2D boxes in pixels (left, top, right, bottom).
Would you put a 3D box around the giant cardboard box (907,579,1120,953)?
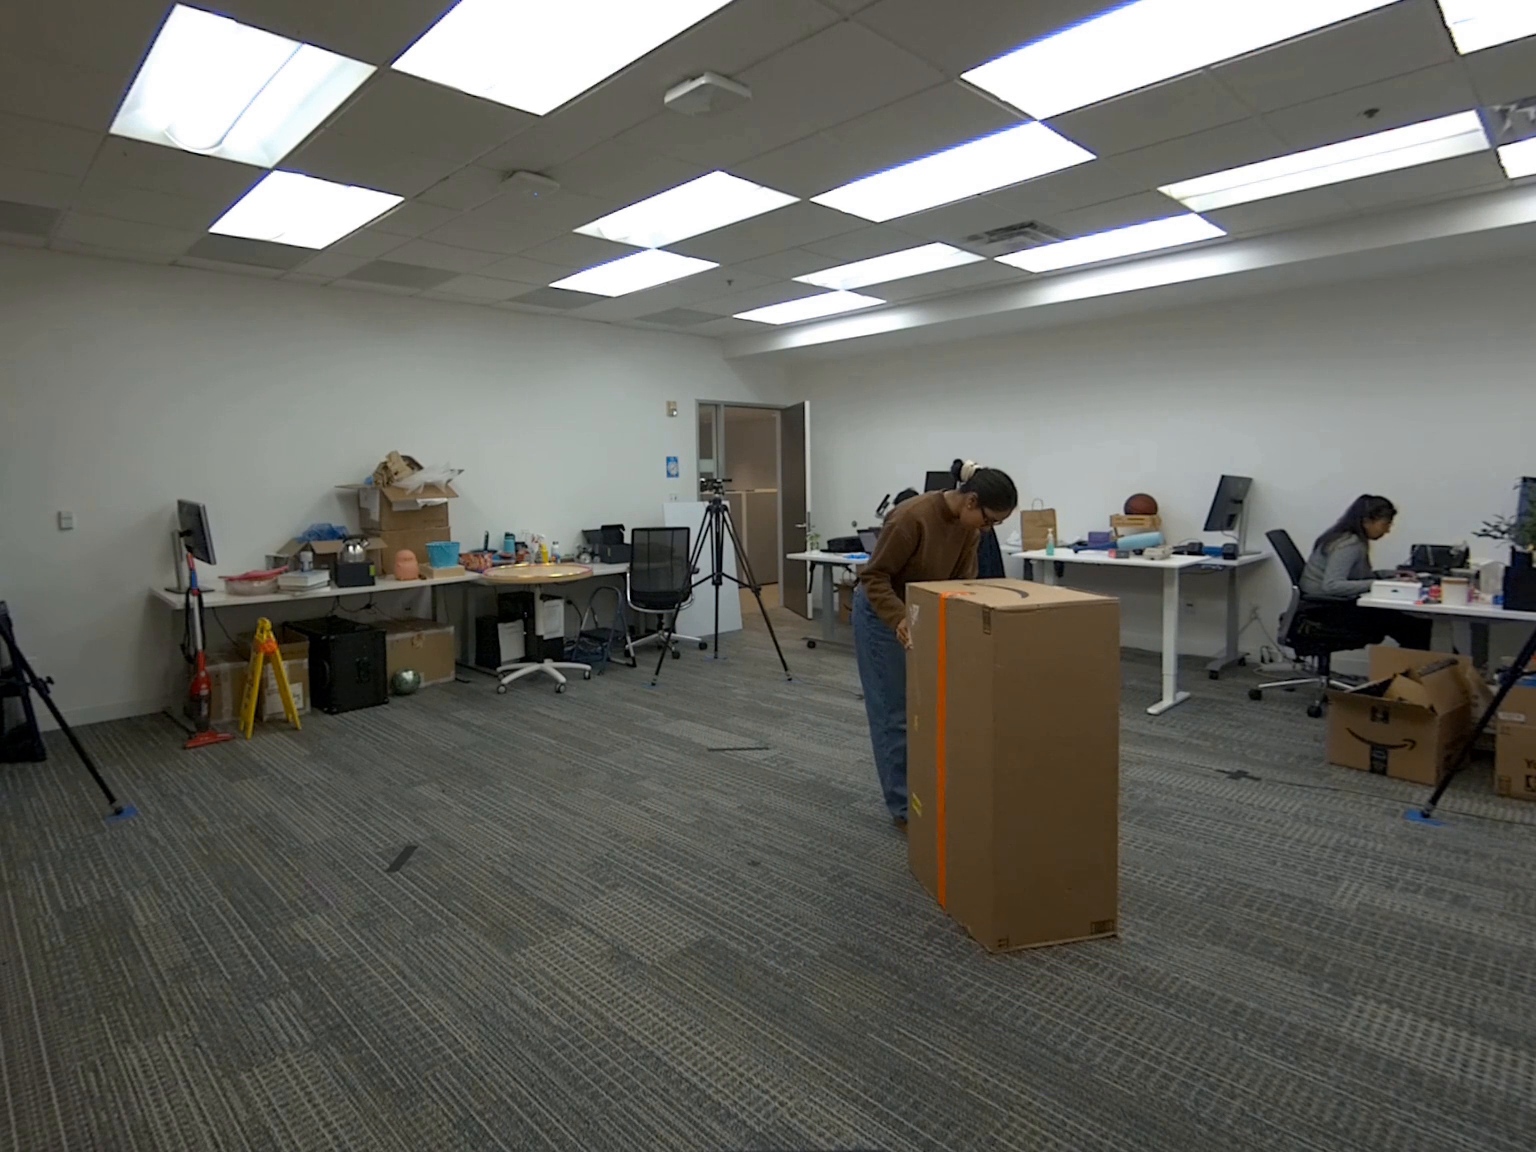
[{"bbox_3d":[0.765,0.558,2.768,0.421,1.022,0.587,-2,5,-14],"label":"giant cardboard box"}]
